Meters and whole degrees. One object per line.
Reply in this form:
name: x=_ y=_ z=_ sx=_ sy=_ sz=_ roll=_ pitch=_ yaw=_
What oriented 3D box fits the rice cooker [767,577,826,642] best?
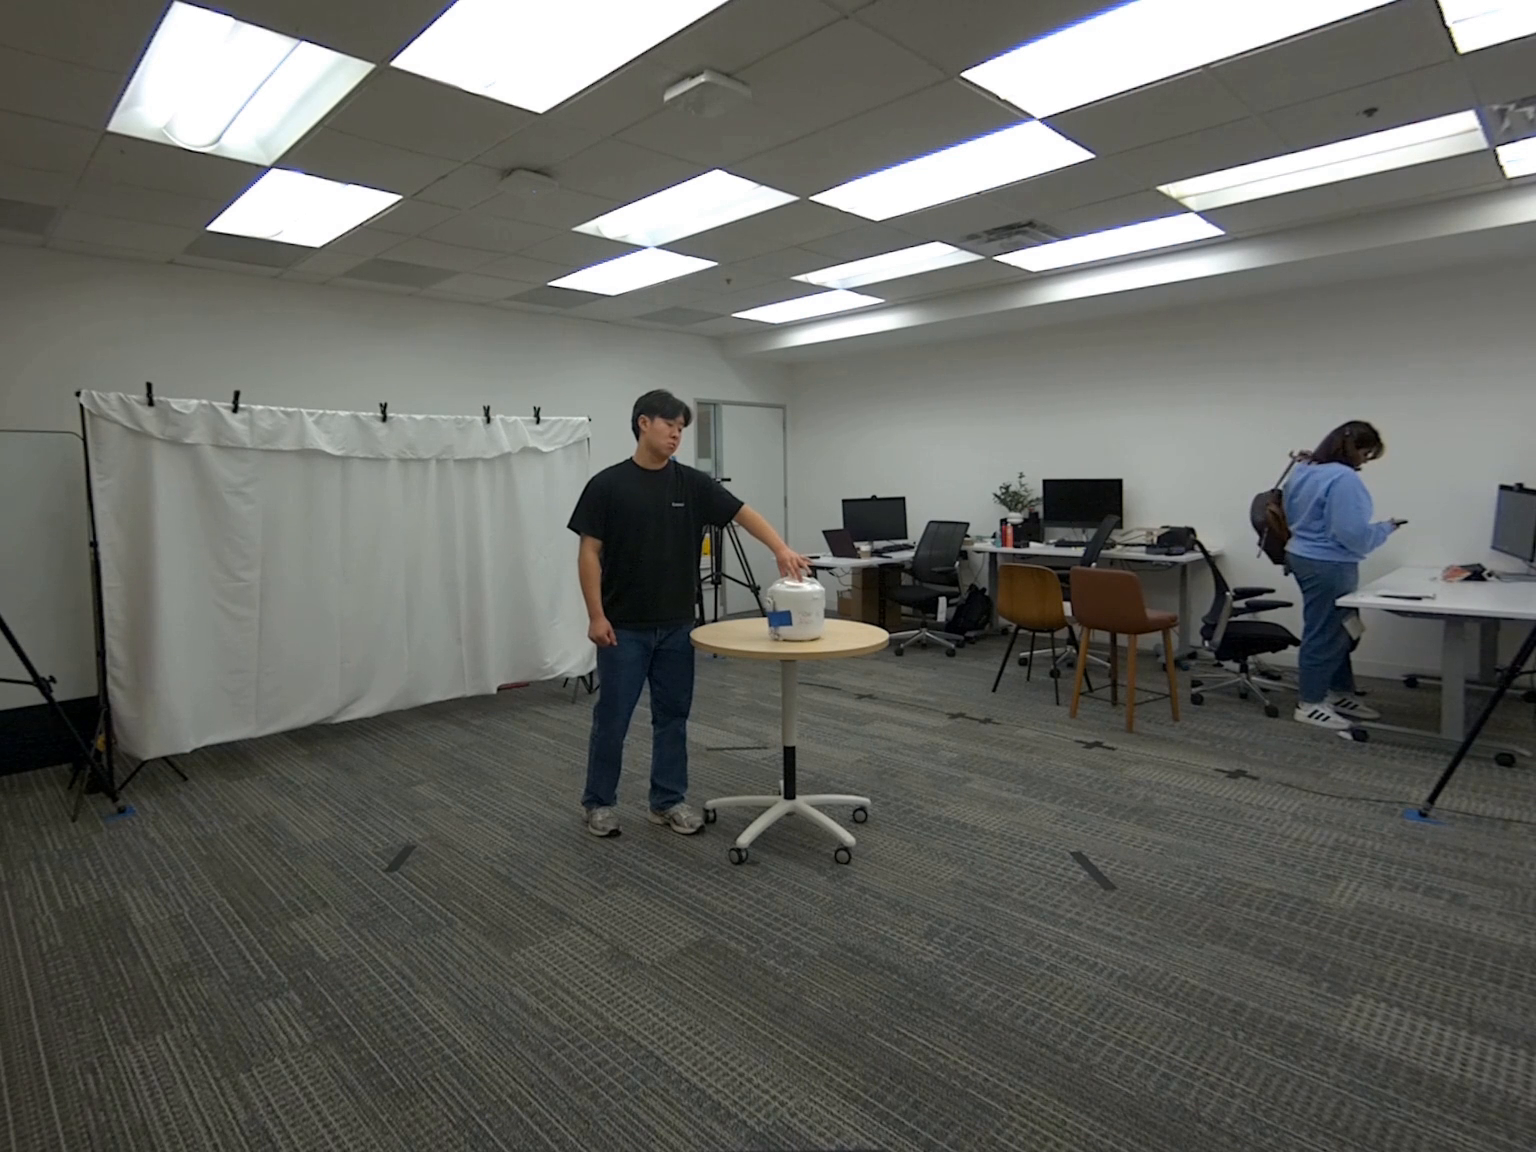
rice cooker: x=0.107 y=0.116 z=3.210 sx=0.223 sy=0.232 sz=0.216 roll=1 pitch=5 yaw=10
